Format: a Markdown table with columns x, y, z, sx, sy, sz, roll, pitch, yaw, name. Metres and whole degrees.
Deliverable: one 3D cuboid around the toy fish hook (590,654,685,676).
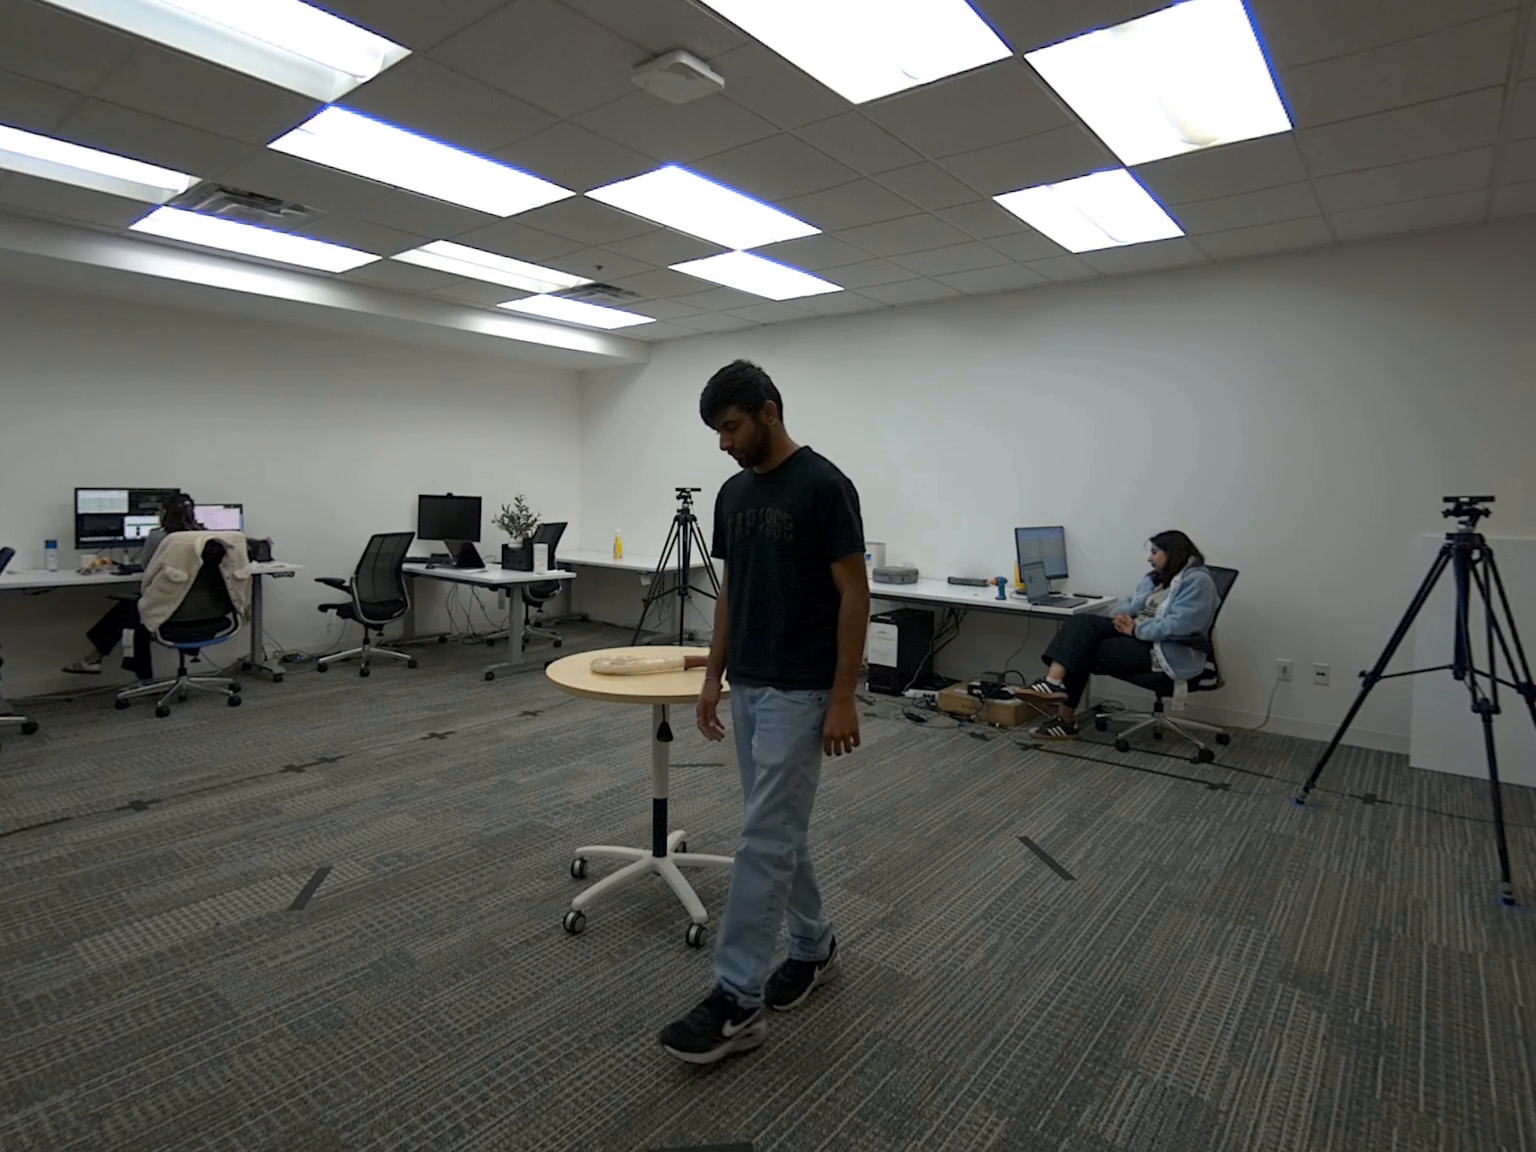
| x | y | z | sx | sy | sz | roll | pitch | yaw | name |
| --- | --- | --- | --- | --- | --- | --- | --- | --- | --- |
| -0.354 | 0.287 | 2.869 | 0.500 | 0.048 | 0.229 | -2 | 8 | -12 | toy fish hook |
